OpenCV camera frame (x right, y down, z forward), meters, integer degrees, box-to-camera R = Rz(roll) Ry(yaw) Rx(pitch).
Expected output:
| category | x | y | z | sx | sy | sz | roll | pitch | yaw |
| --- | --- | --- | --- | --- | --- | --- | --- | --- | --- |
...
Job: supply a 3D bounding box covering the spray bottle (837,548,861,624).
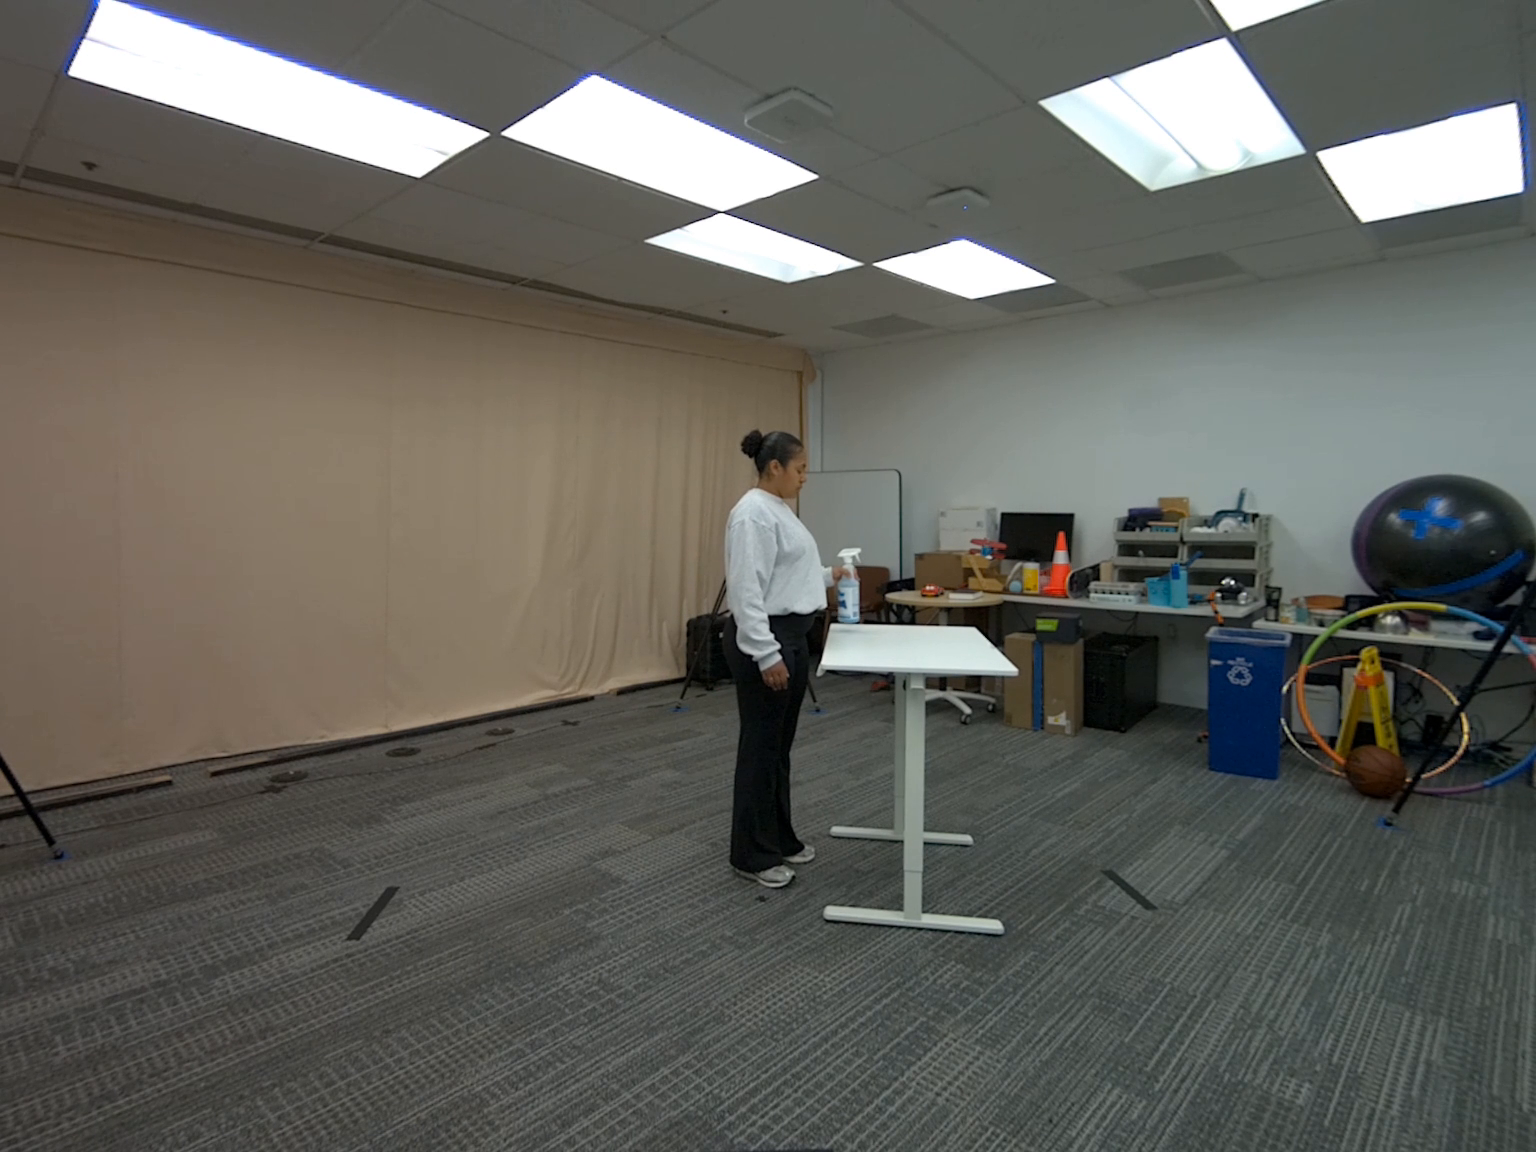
| category | x | y | z | sx | sy | sz | roll | pitch | yaw |
| --- | --- | --- | --- | --- | --- | --- | --- | --- | --- |
| spray bottle | 0.330 | 0.034 | 3.389 | 0.092 | 0.296 | 0.085 | 4 | 9 | 26 |
